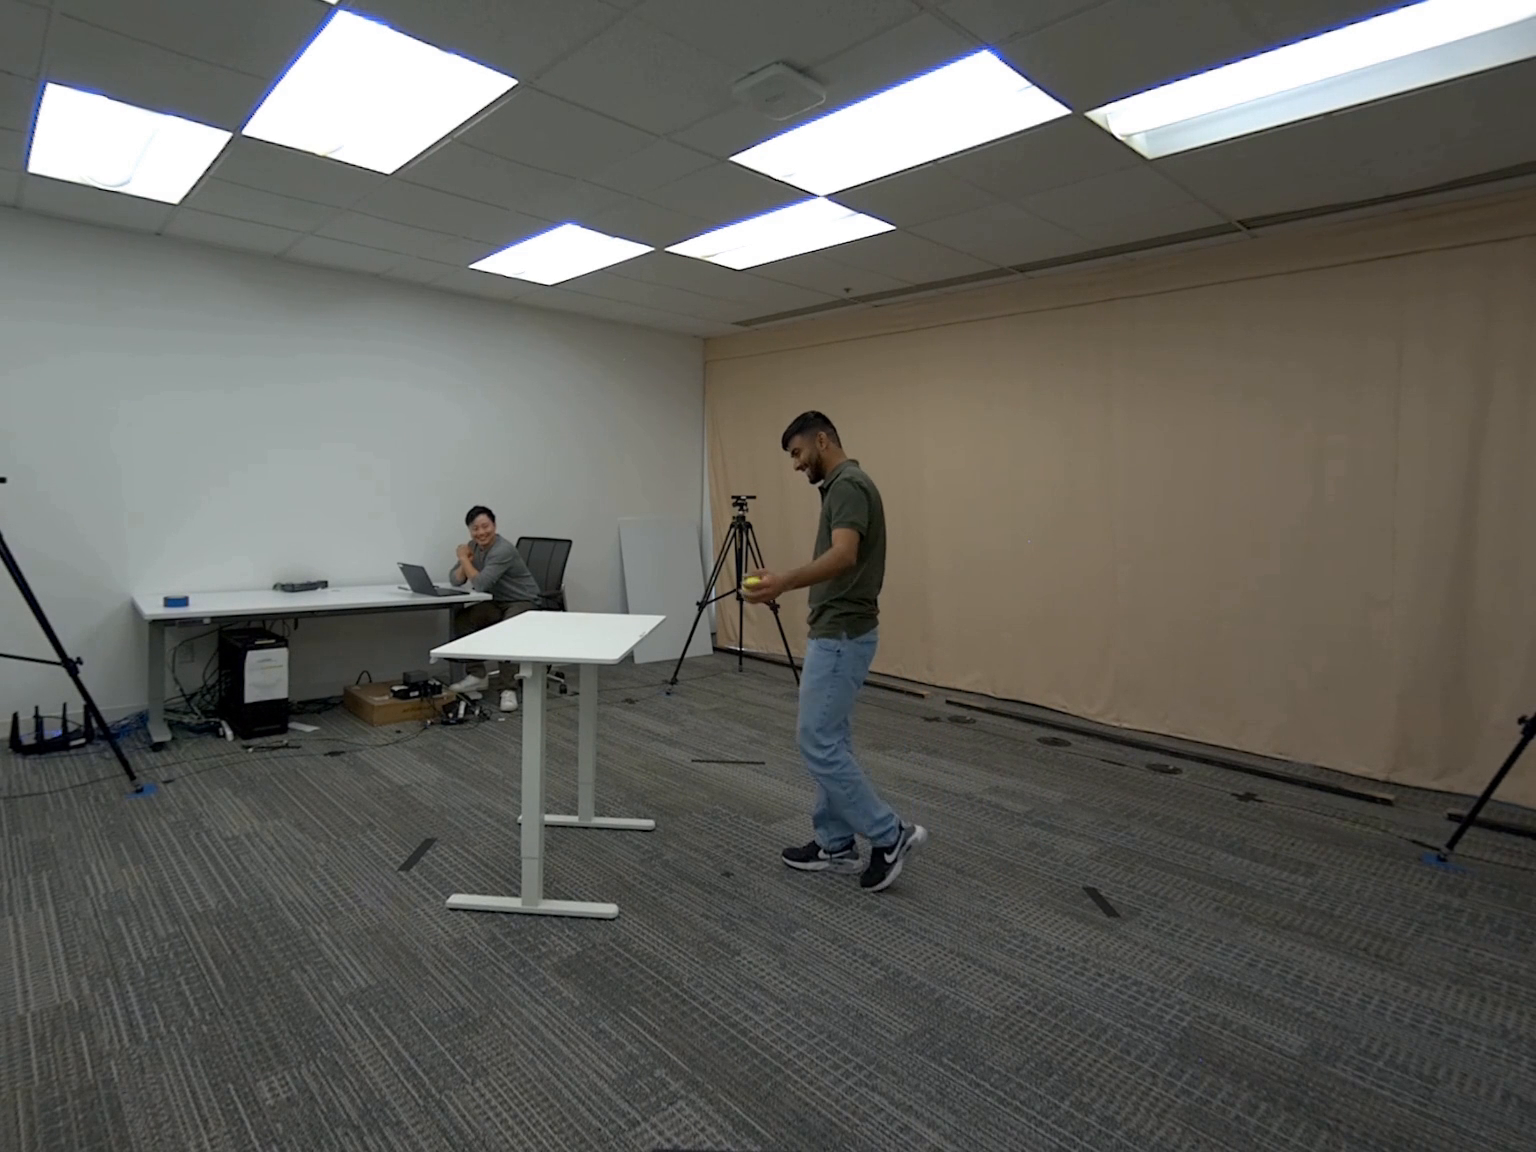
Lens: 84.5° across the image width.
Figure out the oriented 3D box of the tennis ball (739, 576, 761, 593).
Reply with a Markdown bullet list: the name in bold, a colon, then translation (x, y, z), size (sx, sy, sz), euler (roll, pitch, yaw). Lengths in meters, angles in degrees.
- **tennis ball**: translation (-0.083, 0.024, 2.612), size (0.066, 0.066, 0.067), euler (1, 4, -1)
